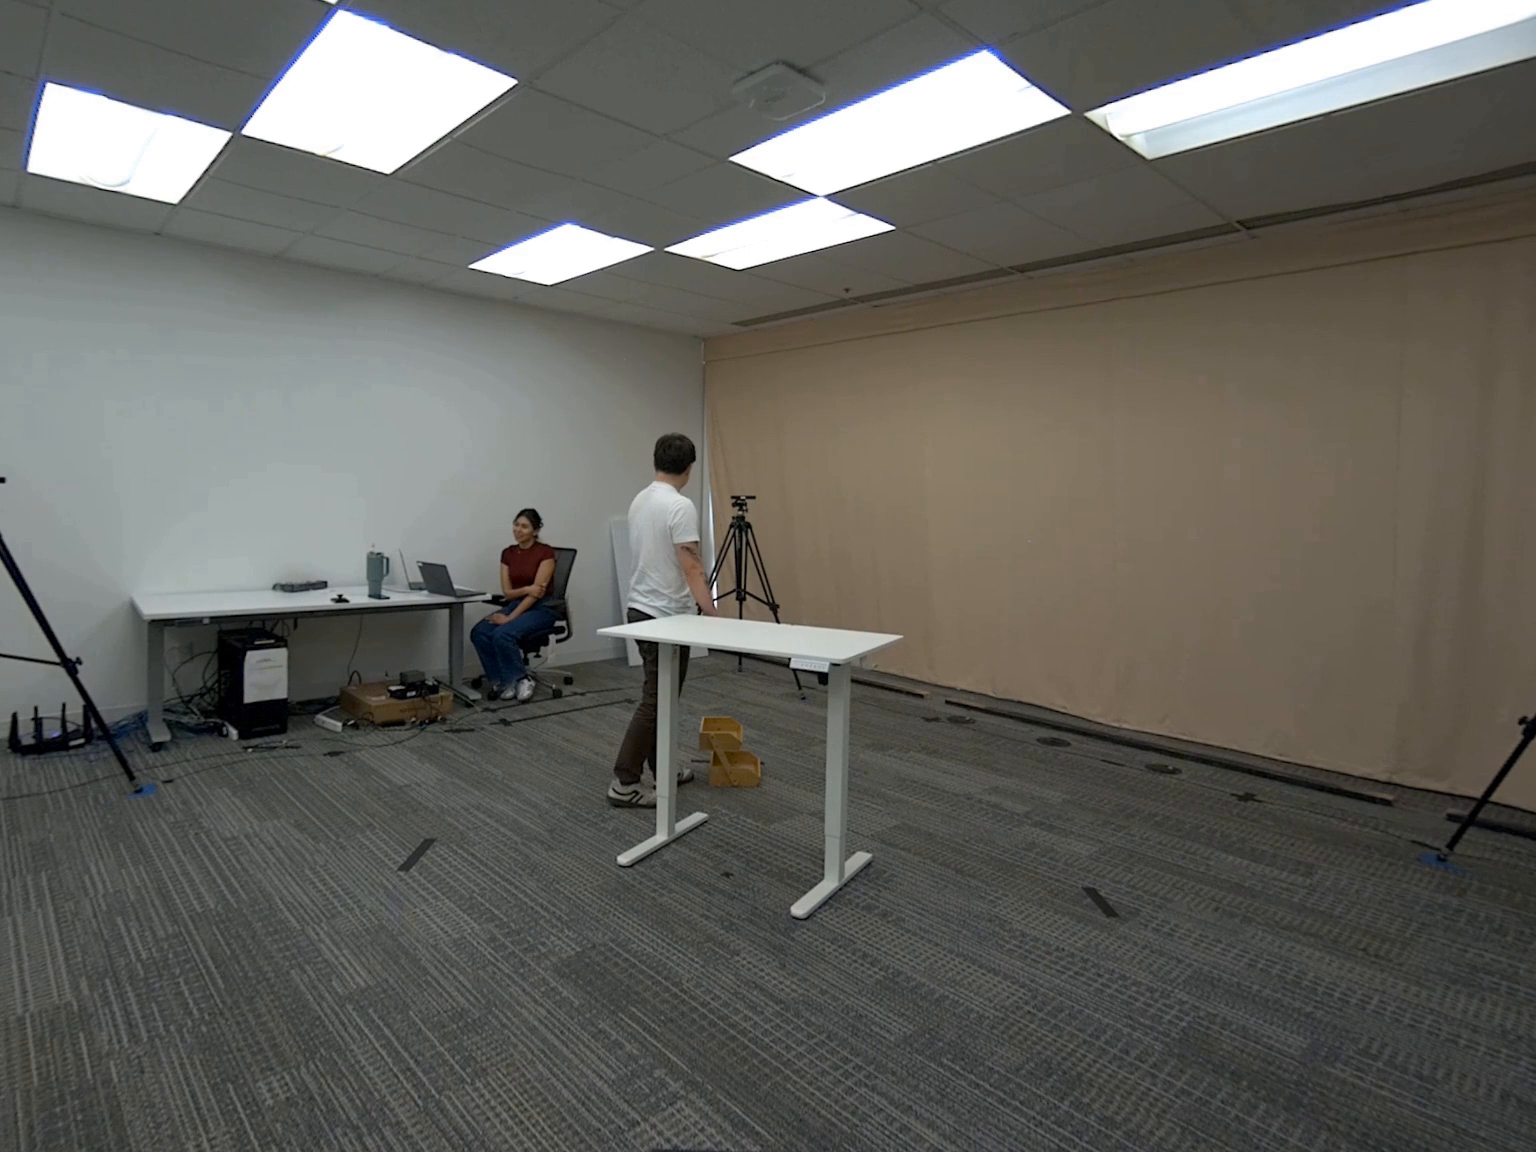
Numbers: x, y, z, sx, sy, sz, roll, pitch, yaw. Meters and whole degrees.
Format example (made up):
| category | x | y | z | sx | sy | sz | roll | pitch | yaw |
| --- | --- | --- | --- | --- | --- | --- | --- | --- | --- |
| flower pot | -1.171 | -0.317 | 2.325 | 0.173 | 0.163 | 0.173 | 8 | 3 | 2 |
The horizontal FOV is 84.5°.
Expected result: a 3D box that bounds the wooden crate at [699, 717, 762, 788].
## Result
| category | x | y | z | sx | sy | sz | roll | pitch | yaw |
| --- | --- | --- | --- | --- | --- | --- | --- | --- | --- |
| wooden crate | -0.192 | 0.873 | 4.235 | 0.301 | 0.272 | 0.326 | 1 | 5 | -3 |
